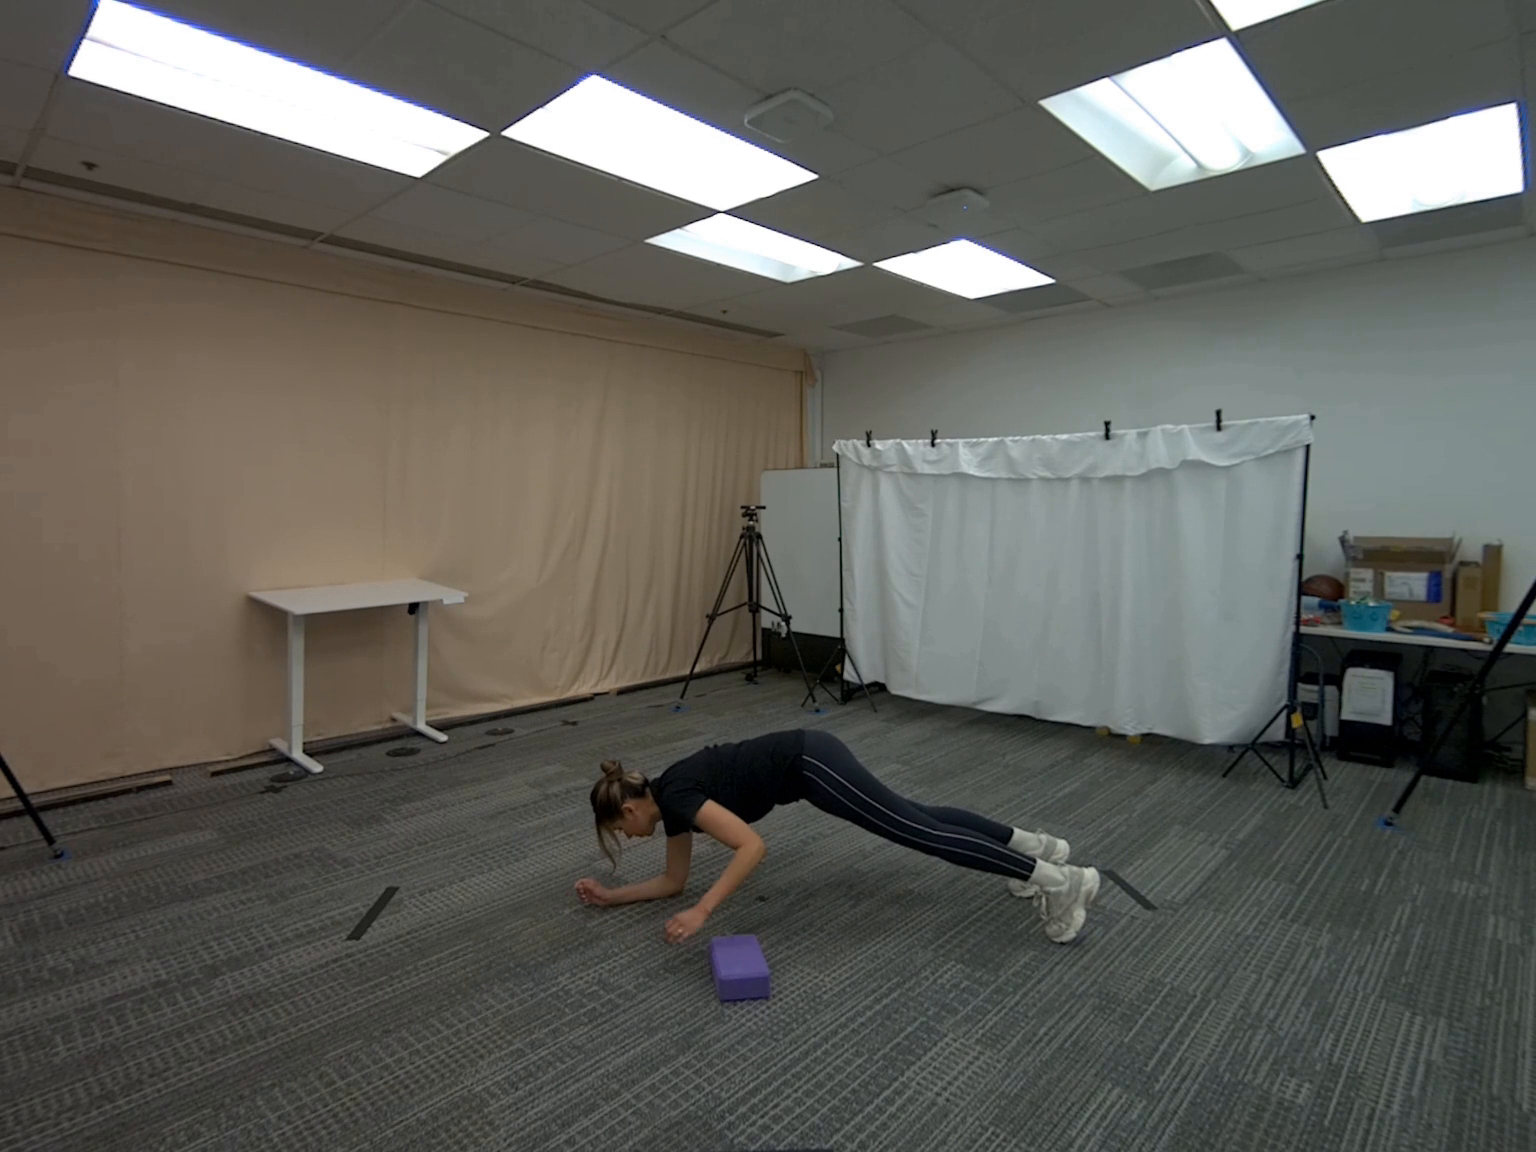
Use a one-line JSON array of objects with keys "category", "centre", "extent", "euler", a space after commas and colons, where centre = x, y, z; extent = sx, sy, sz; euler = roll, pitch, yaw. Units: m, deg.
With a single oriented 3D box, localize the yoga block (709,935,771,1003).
[{"category": "yoga block", "centre": [-0.085, 1.142, 2.470], "extent": [0.147, 0.076, 0.232], "euler": [0, 3, -11]}]
